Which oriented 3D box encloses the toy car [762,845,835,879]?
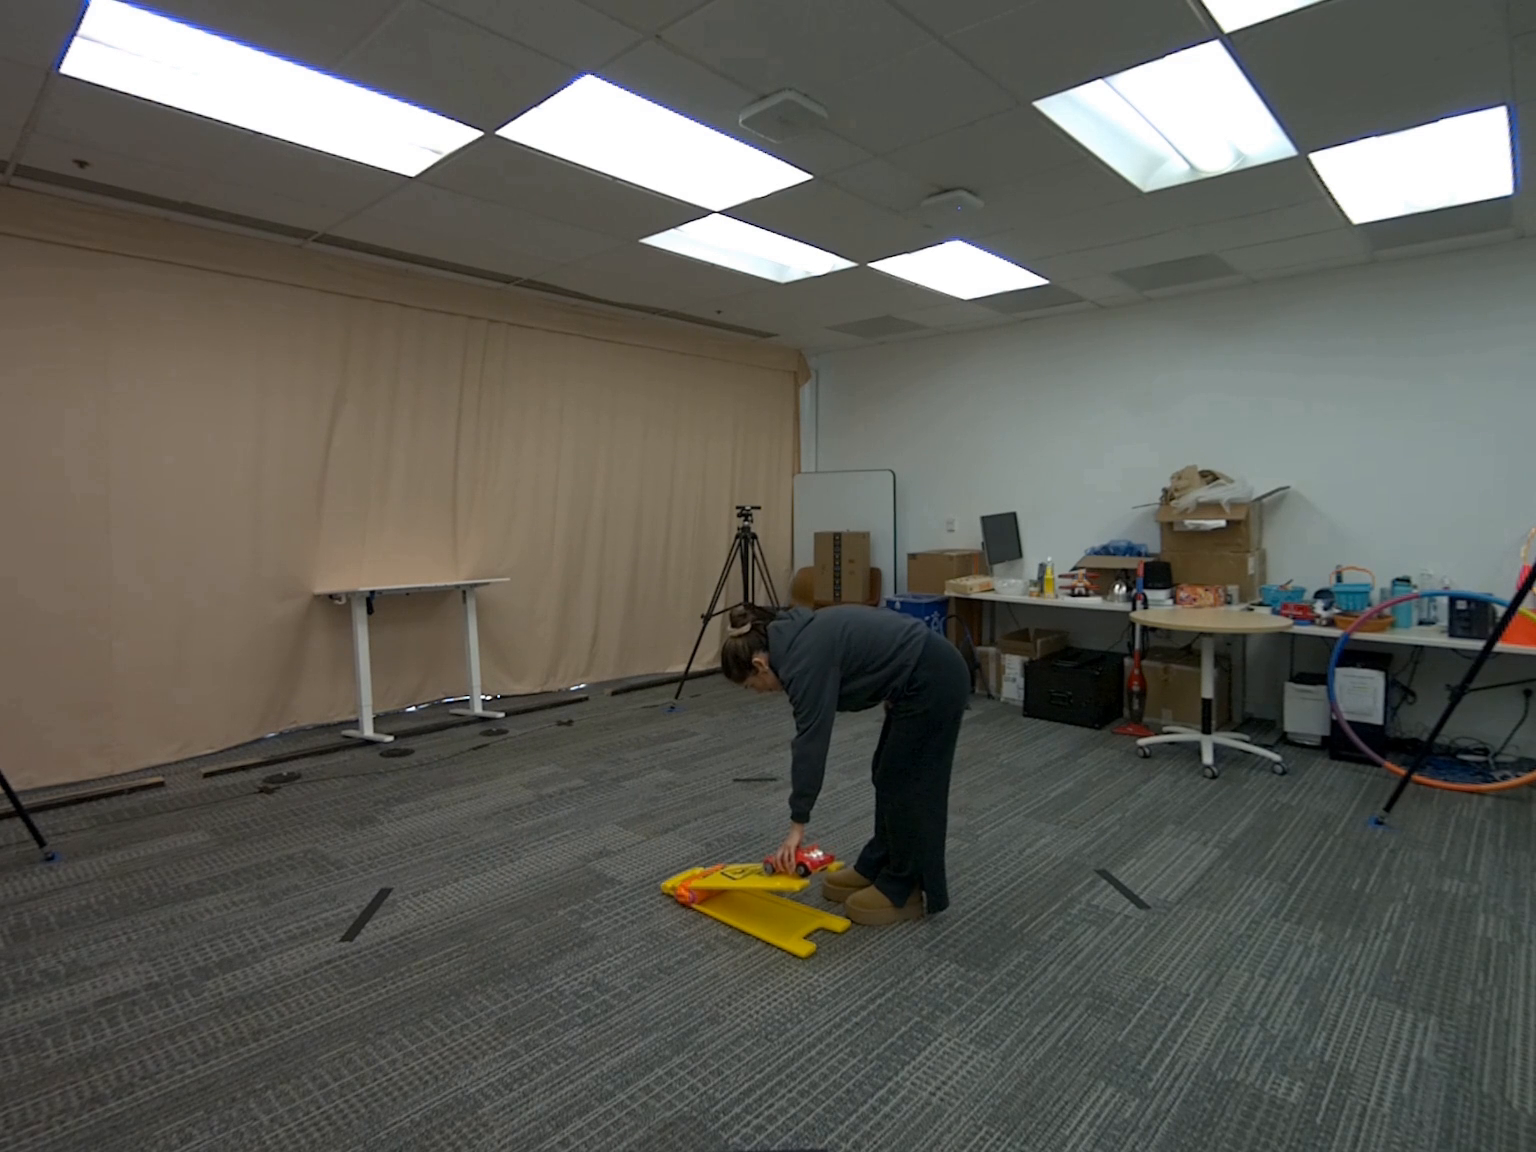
[{"bbox_3d":[0.129,0.938,2.732,0.126,0.084,0.259,-1,-22,-47],"label":"toy car"}]
